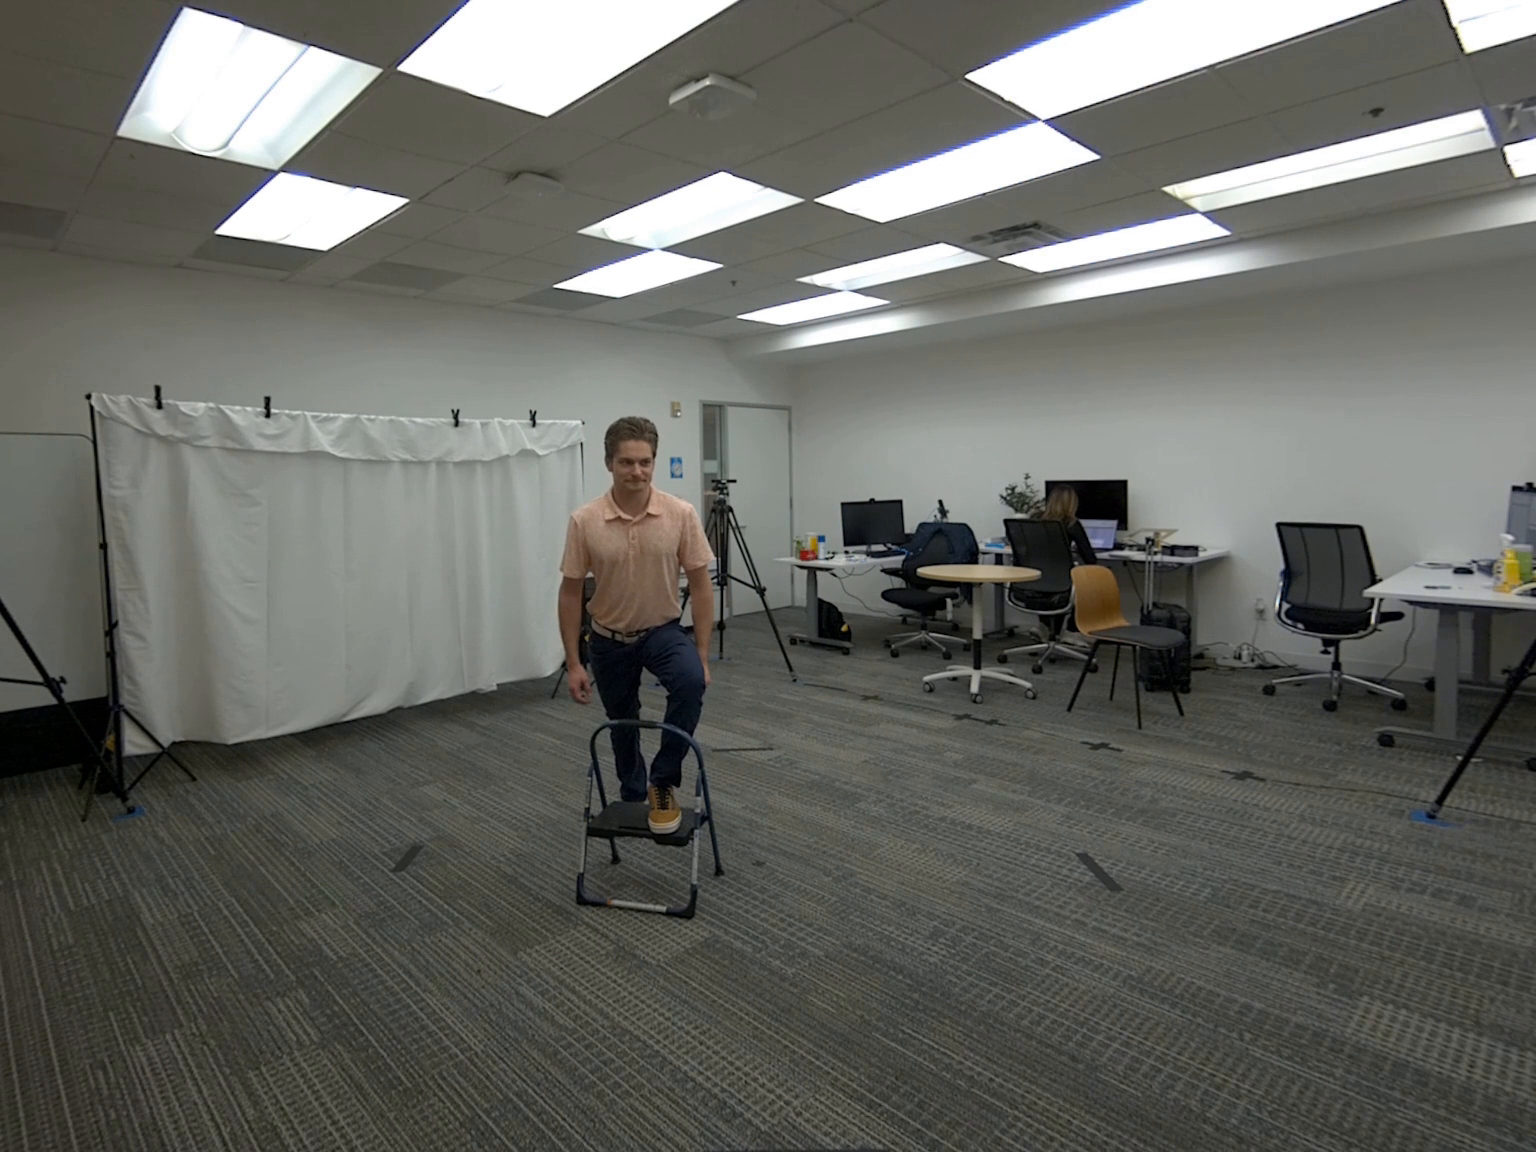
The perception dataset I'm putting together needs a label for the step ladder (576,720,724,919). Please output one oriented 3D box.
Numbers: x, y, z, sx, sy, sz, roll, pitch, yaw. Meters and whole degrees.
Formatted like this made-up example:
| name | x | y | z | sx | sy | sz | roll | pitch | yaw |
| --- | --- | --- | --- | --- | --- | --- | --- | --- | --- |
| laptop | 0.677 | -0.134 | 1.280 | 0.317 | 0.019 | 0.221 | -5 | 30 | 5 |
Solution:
| name | x | y | z | sx | sy | sz | roll | pitch | yaw |
| --- | --- | --- | --- | --- | --- | --- | --- | --- | --- |
| step ladder | -0.404 | 0.773 | 2.920 | 0.437 | 0.604 | 0.346 | 0 | 5 | 14 |
